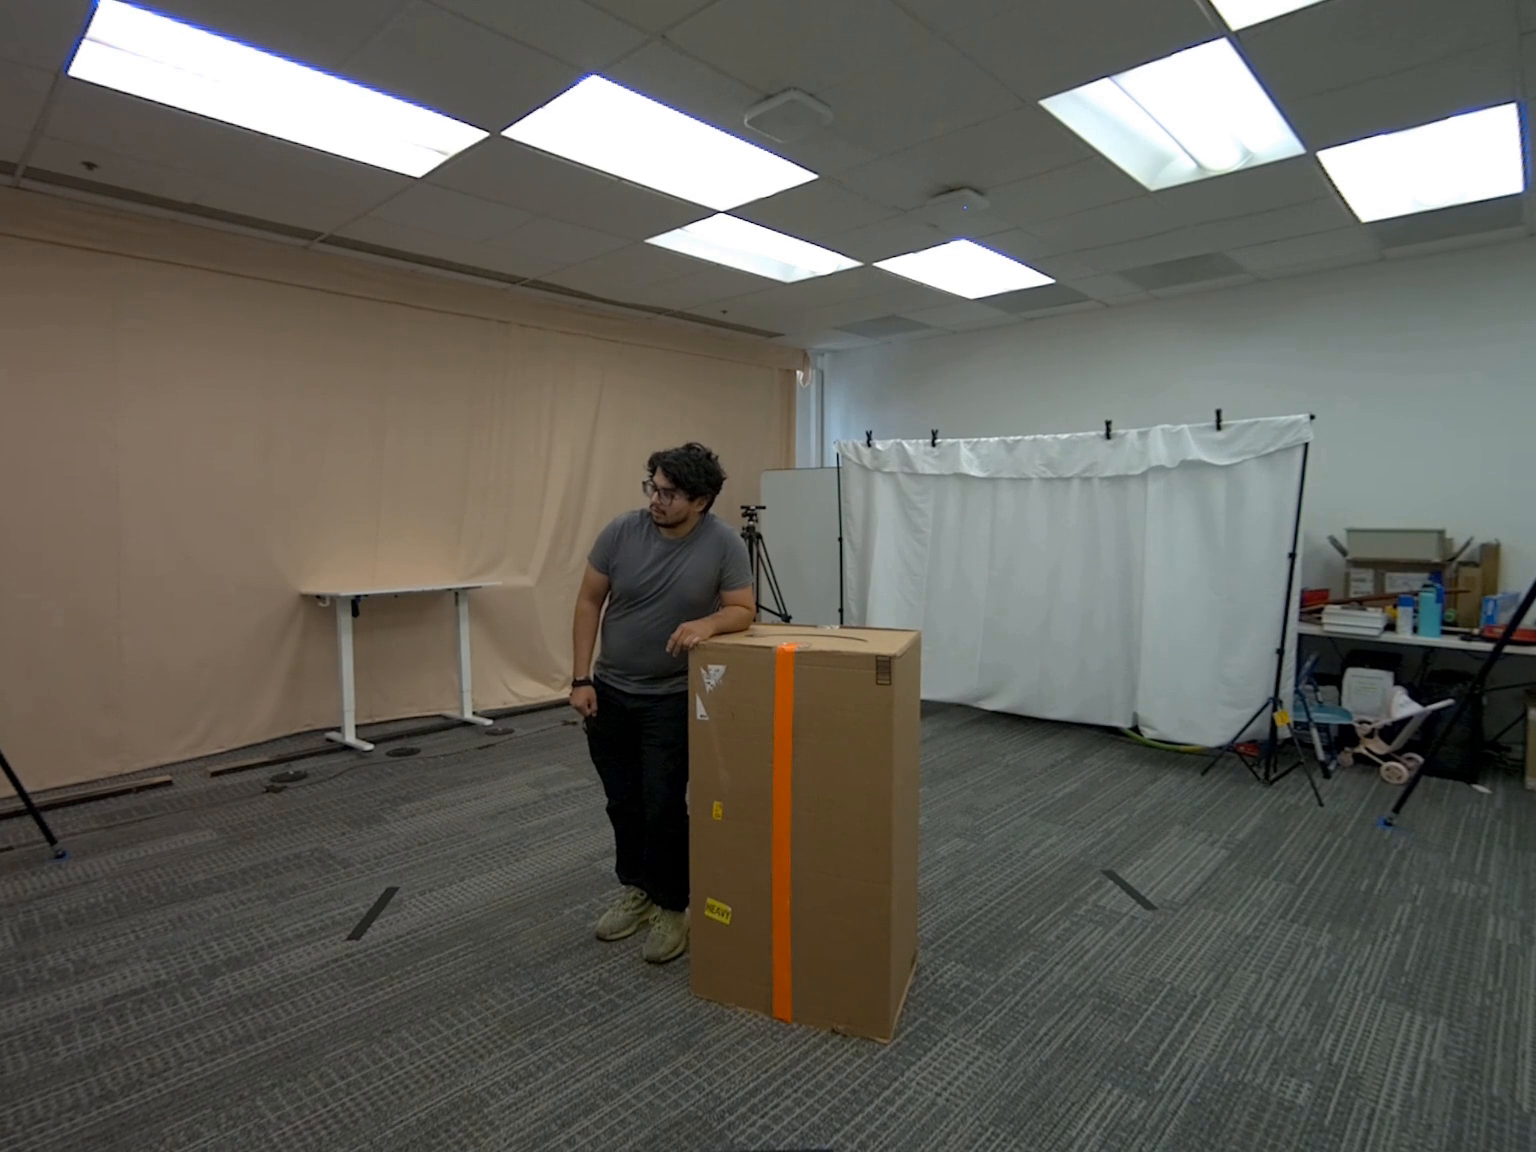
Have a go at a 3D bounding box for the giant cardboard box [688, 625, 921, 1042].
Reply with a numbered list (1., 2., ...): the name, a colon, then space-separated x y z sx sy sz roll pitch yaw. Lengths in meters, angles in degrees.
1. giant cardboard box: 0.125 0.681 2.441 0.591 1.024 0.417 2 4 23
